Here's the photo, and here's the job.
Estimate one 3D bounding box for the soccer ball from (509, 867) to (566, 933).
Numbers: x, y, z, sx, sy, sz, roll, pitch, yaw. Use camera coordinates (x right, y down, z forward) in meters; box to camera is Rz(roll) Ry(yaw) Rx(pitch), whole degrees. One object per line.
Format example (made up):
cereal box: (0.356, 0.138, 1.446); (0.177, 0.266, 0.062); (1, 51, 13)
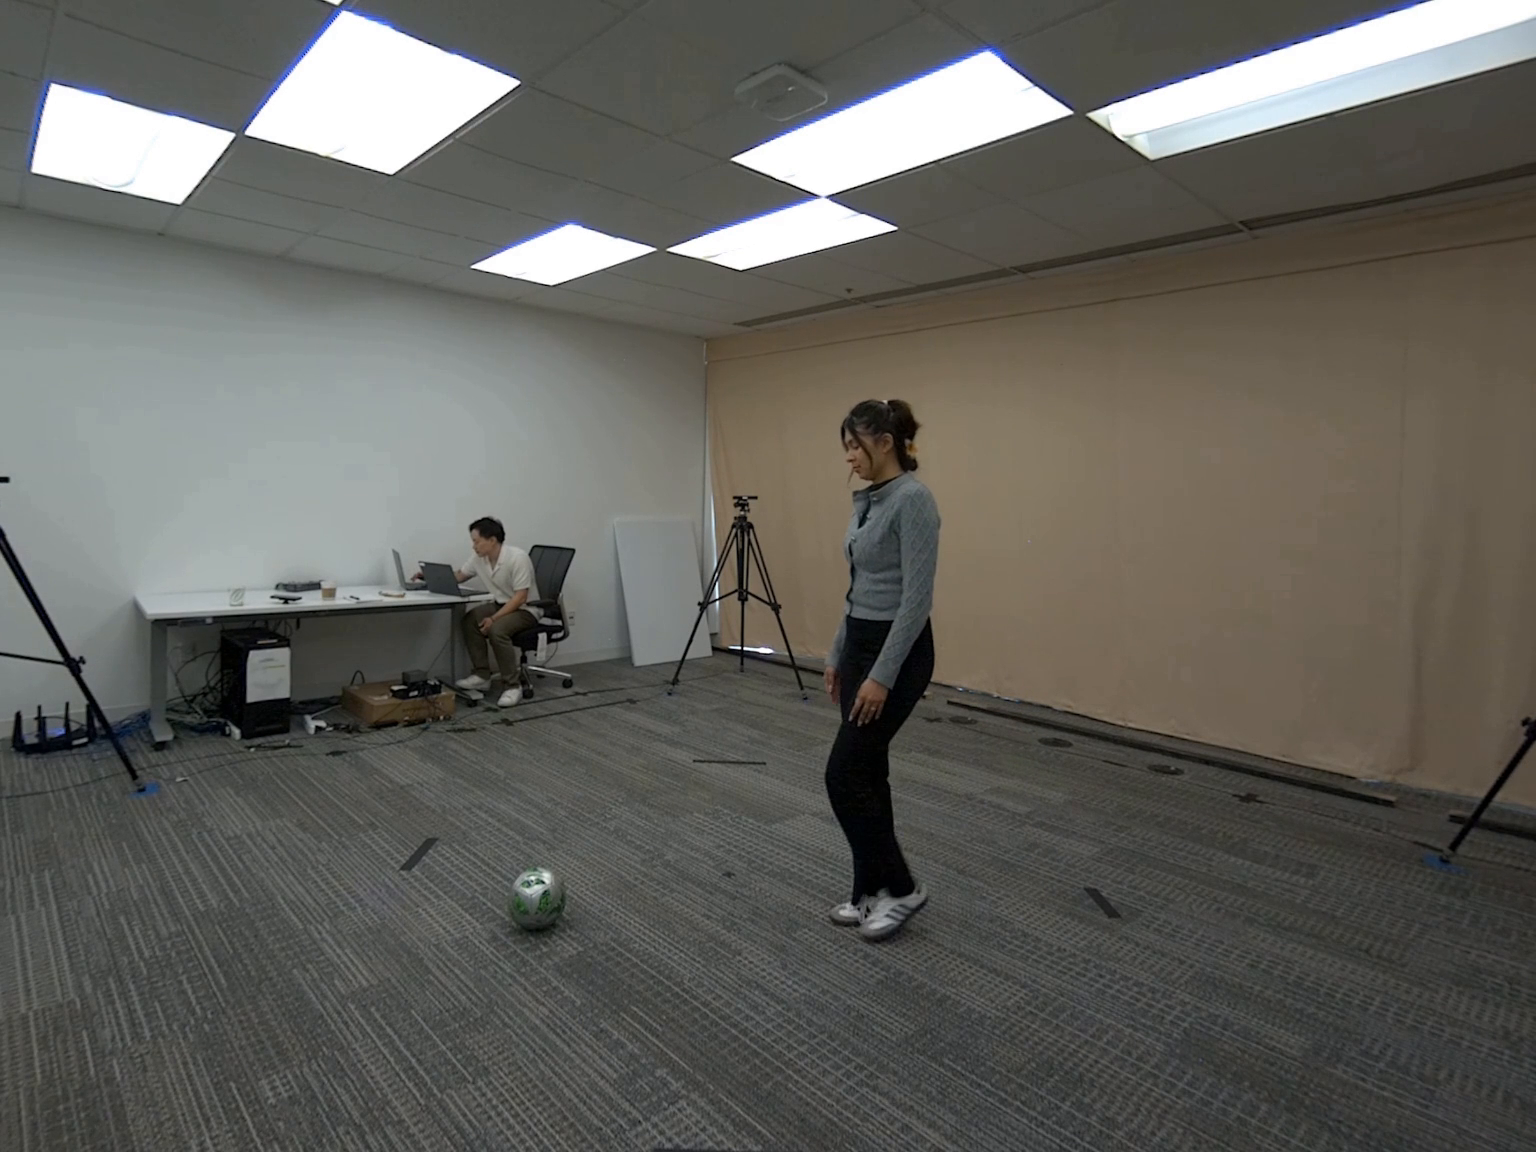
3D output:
soccer ball: (-0.745, 1.031, 2.703); (0.187, 0.187, 0.188); (1, 4, -1)
